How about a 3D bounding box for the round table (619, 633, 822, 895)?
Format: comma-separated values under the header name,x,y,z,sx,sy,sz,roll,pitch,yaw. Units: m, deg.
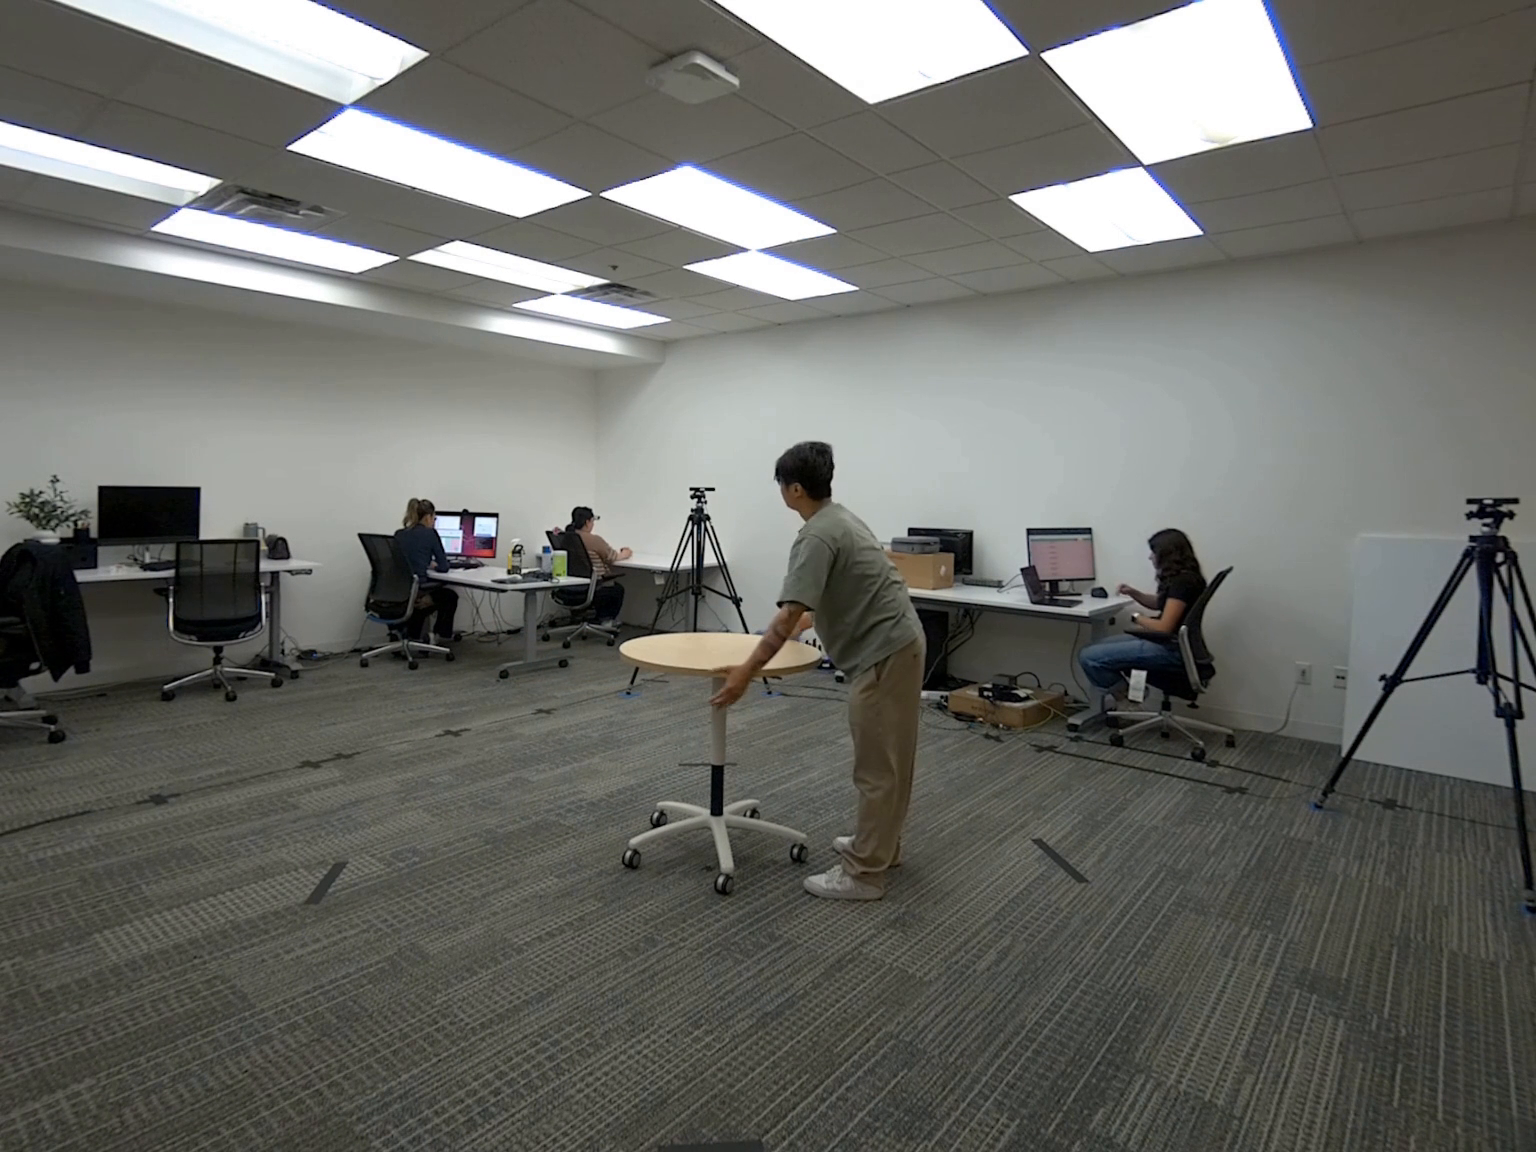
name,x,y,z,sx,sy,sz,roll,pitch,yaw
round table,-0.206,0.662,3.239,0.784,0.784,0.788,2,3,-2
